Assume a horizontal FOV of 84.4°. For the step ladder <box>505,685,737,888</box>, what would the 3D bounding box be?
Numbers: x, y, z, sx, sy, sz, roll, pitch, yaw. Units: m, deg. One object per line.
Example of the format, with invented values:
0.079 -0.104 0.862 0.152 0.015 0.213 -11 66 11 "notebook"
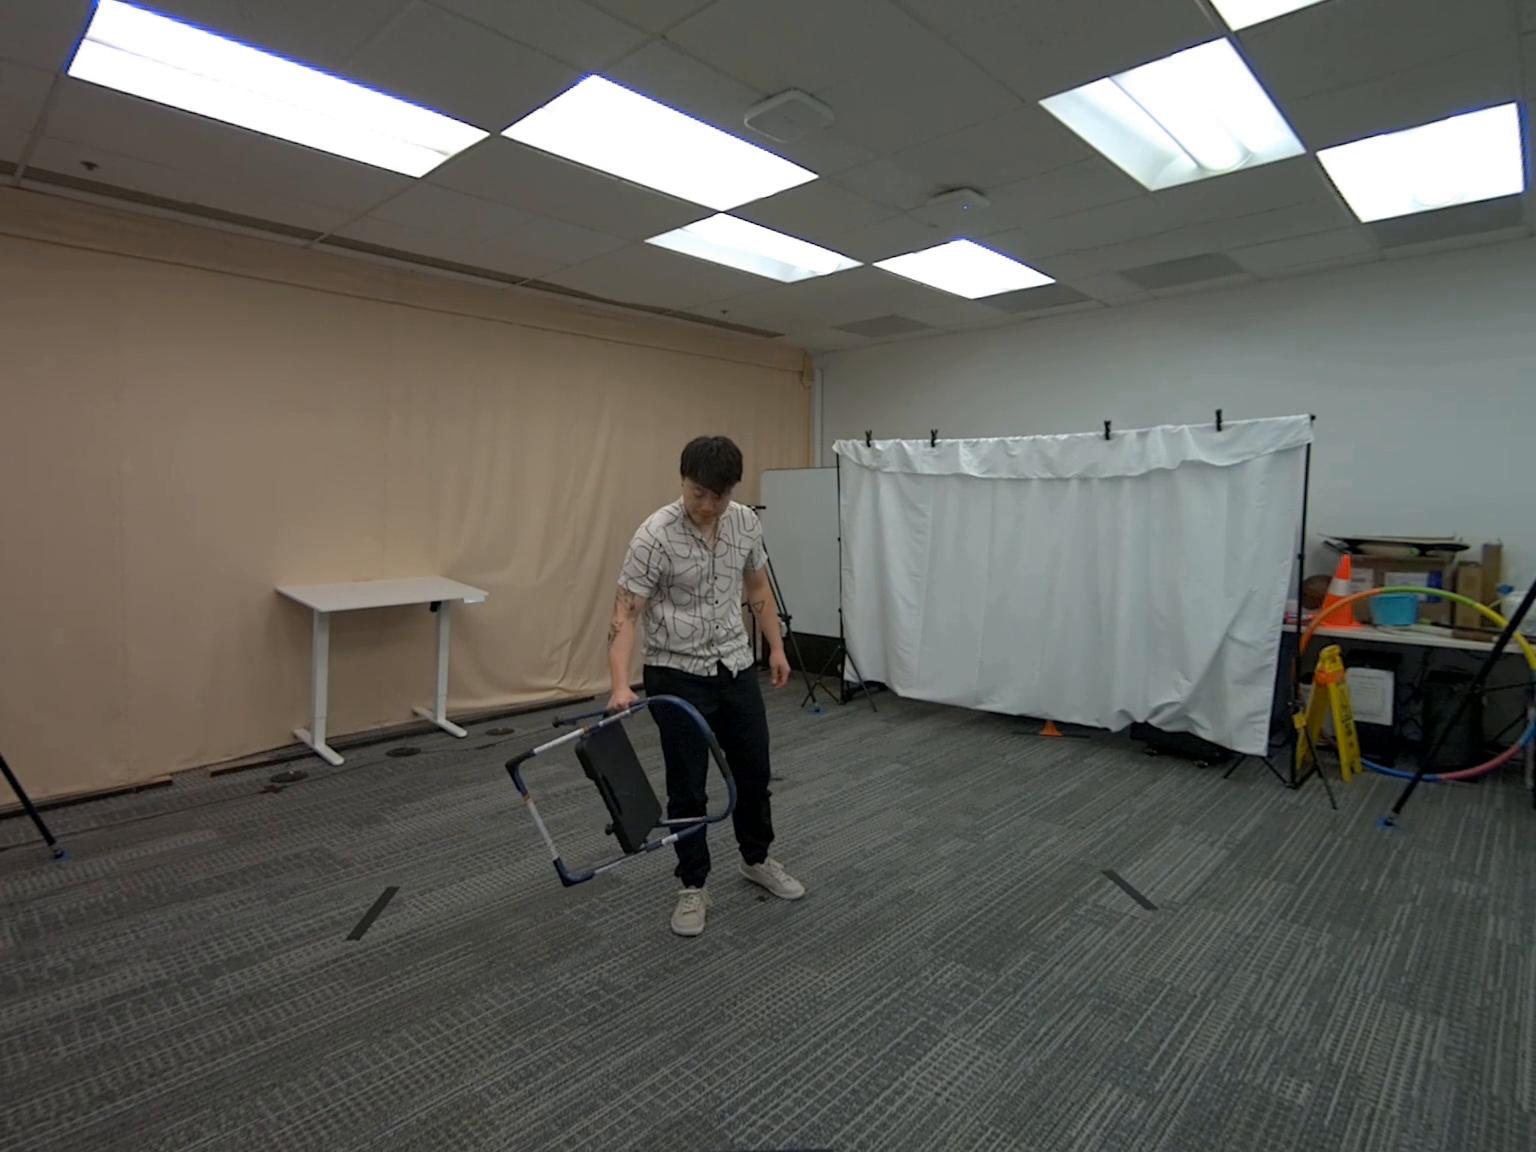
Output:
-0.379 0.585 2.507 0.615 0.428 0.346 -23 6 20 "step ladder"
